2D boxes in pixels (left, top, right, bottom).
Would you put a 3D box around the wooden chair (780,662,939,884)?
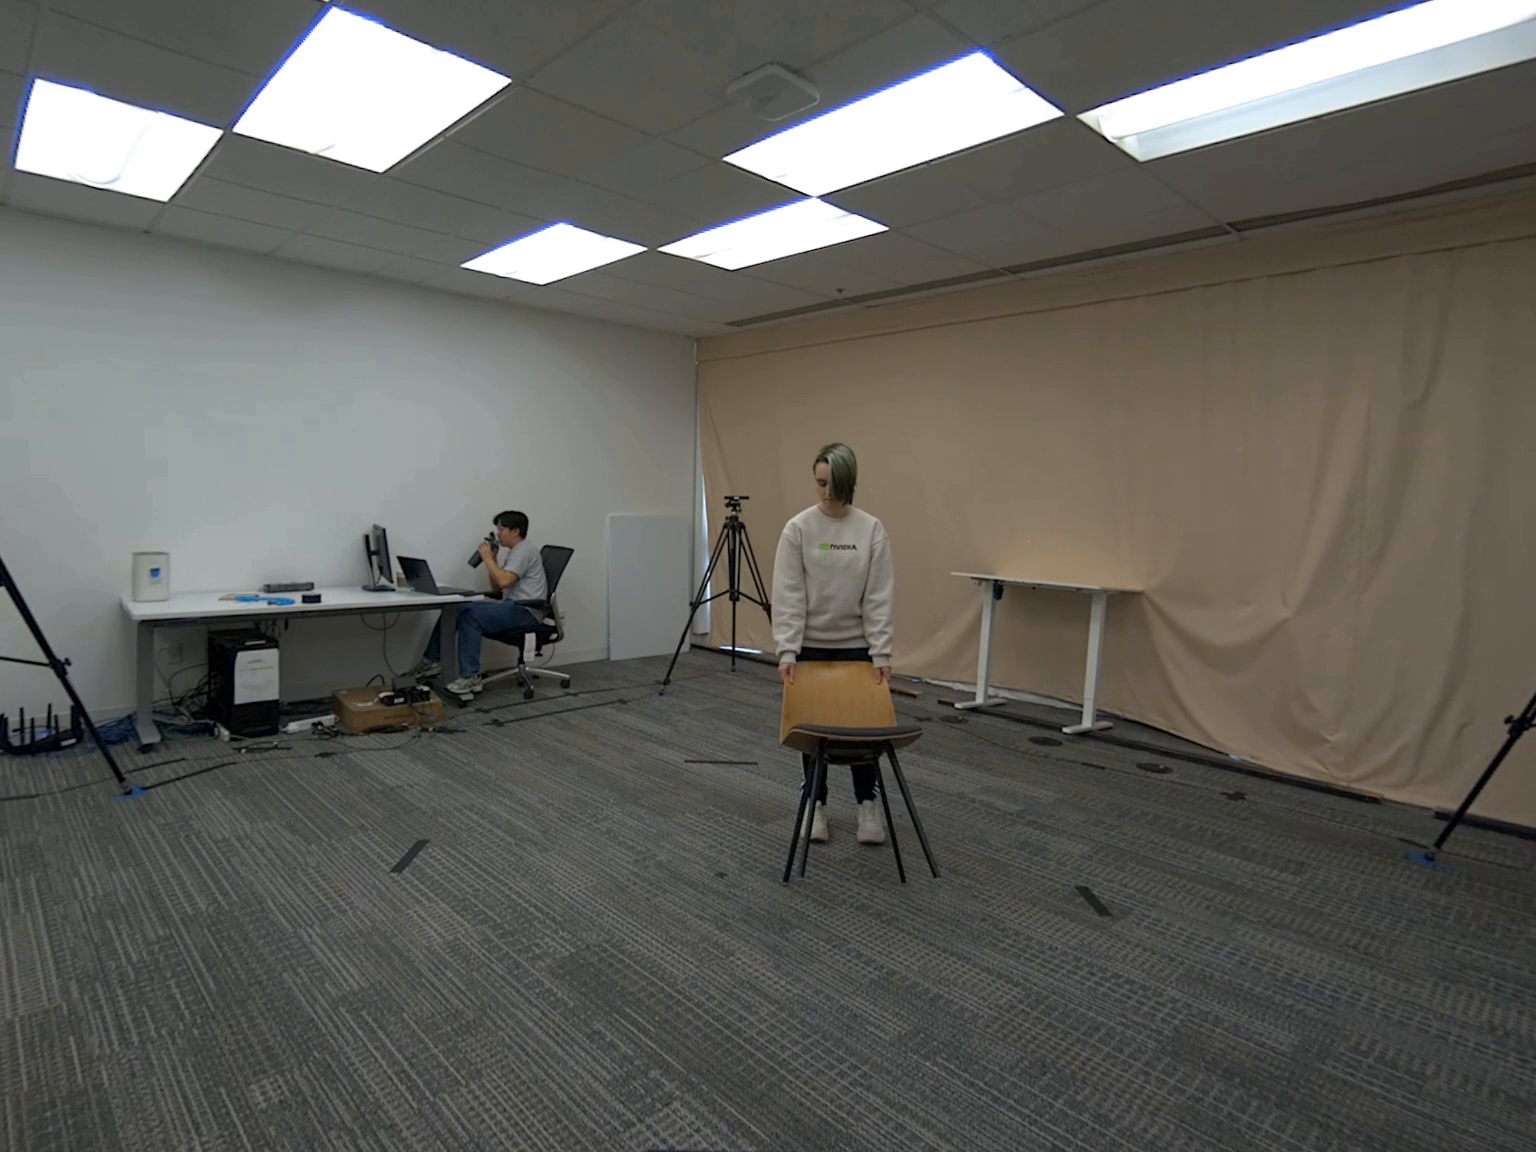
[{"bbox_3d":[0.283,0.638,3.004,0.476,0.894,0.515,1,-28,-5],"label":"wooden chair"}]
